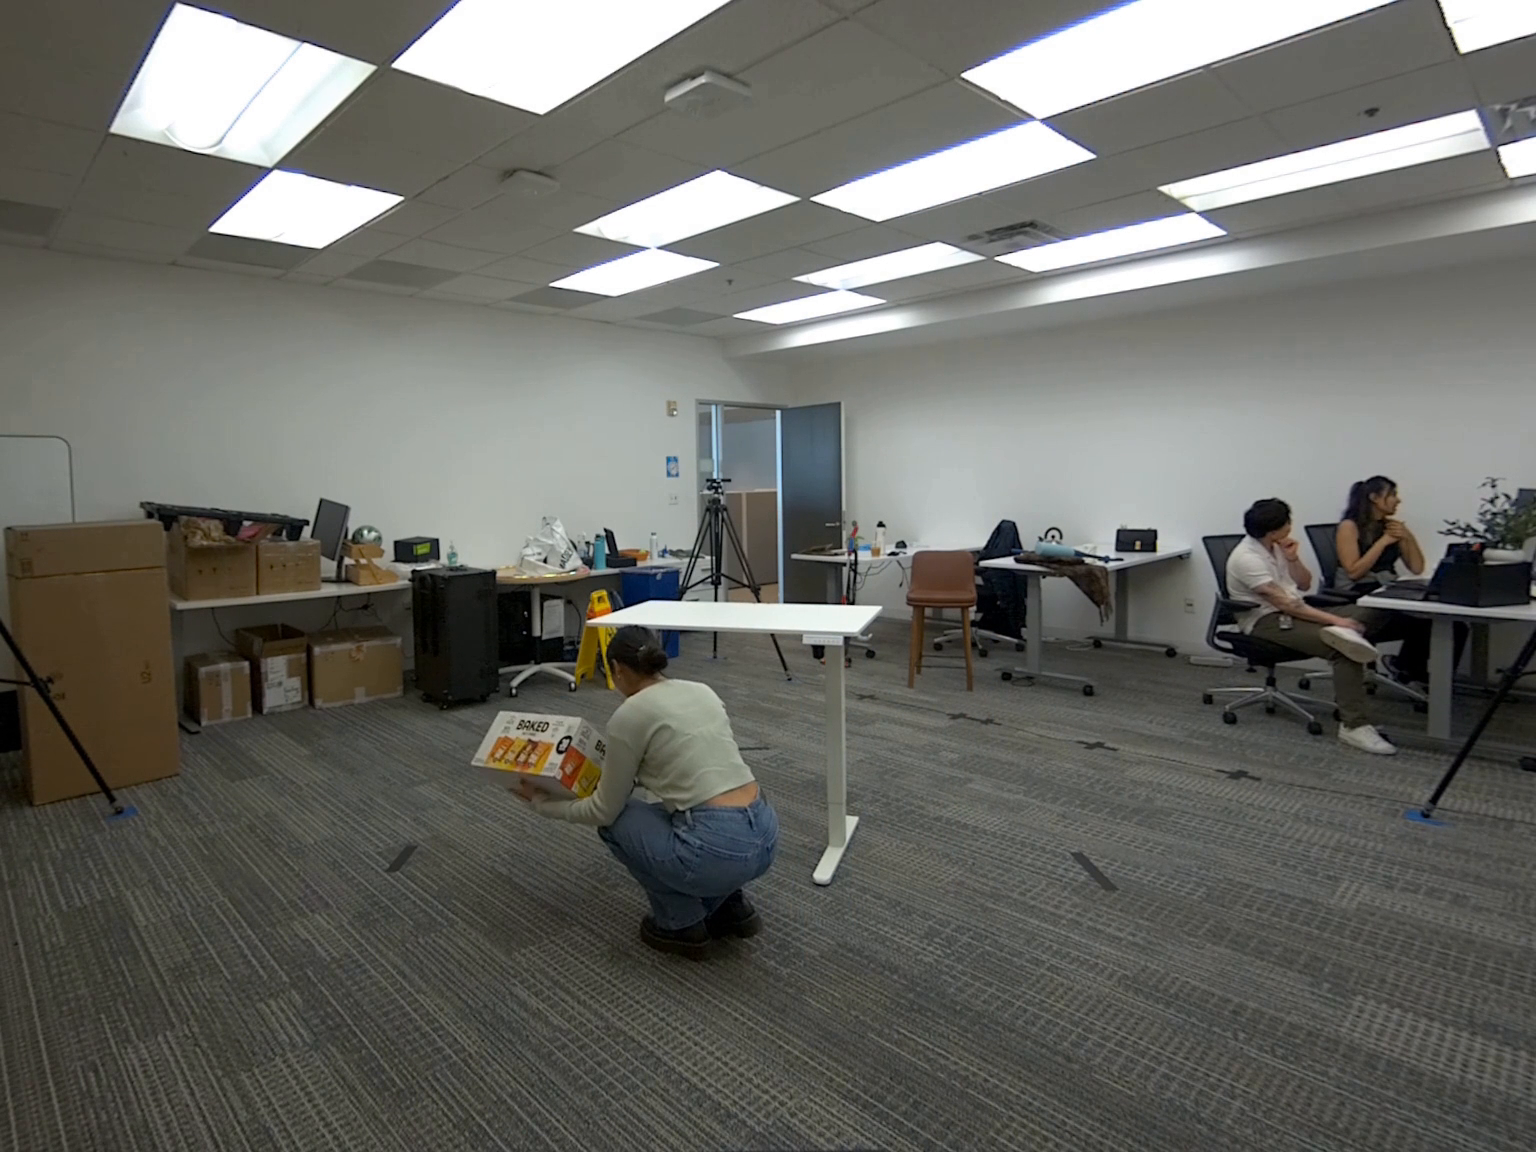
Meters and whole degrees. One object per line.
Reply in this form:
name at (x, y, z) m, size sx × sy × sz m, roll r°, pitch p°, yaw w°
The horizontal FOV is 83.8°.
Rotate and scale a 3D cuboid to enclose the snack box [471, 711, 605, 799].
snack box at (-0.698, 0.640, 2.825) m, size 0.416 × 0.208 × 0.328 m, roll -3°, pitch -41°, yaw 36°
